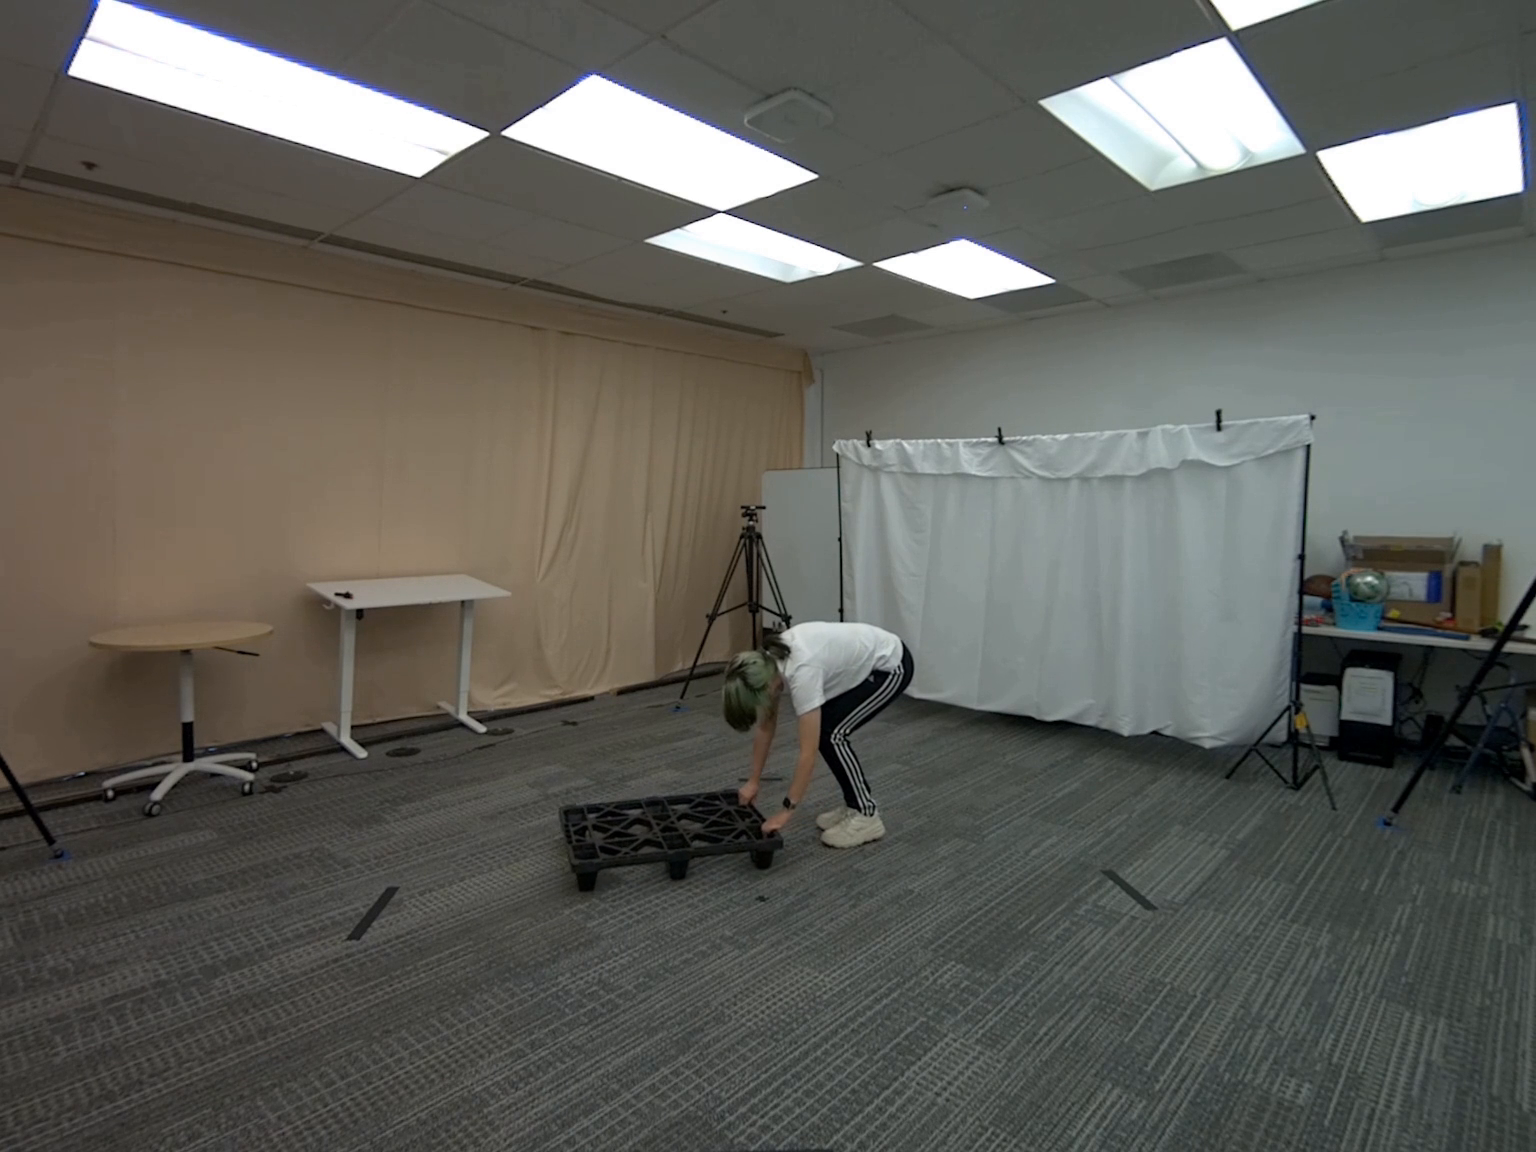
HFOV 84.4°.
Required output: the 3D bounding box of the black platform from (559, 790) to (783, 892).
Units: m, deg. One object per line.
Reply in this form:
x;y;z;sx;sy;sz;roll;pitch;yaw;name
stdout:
-0.408;1.047;3.363;0.793;0.143;0.616;-1;4;-16;black platform
